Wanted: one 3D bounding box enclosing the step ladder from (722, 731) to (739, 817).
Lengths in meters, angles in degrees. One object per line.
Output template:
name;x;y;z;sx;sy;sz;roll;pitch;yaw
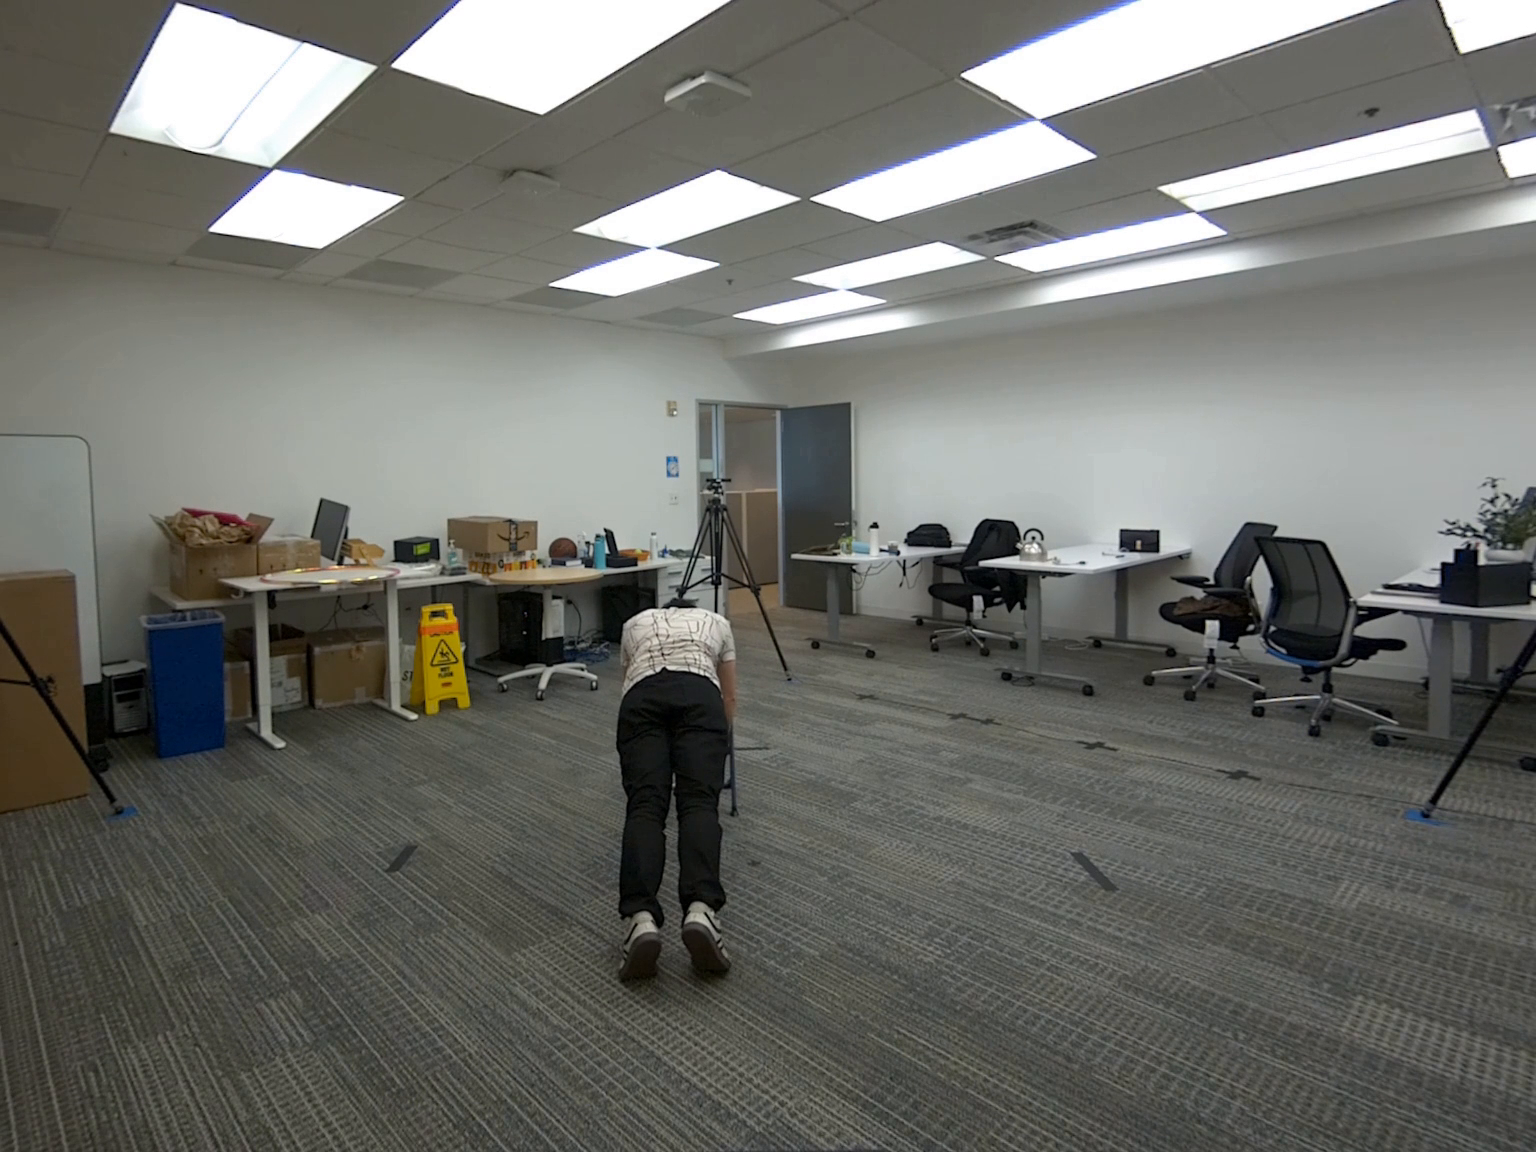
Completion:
step ladder;-0.352;0.682;3.700;0.430;0.604;0.351;-1;4;-3
